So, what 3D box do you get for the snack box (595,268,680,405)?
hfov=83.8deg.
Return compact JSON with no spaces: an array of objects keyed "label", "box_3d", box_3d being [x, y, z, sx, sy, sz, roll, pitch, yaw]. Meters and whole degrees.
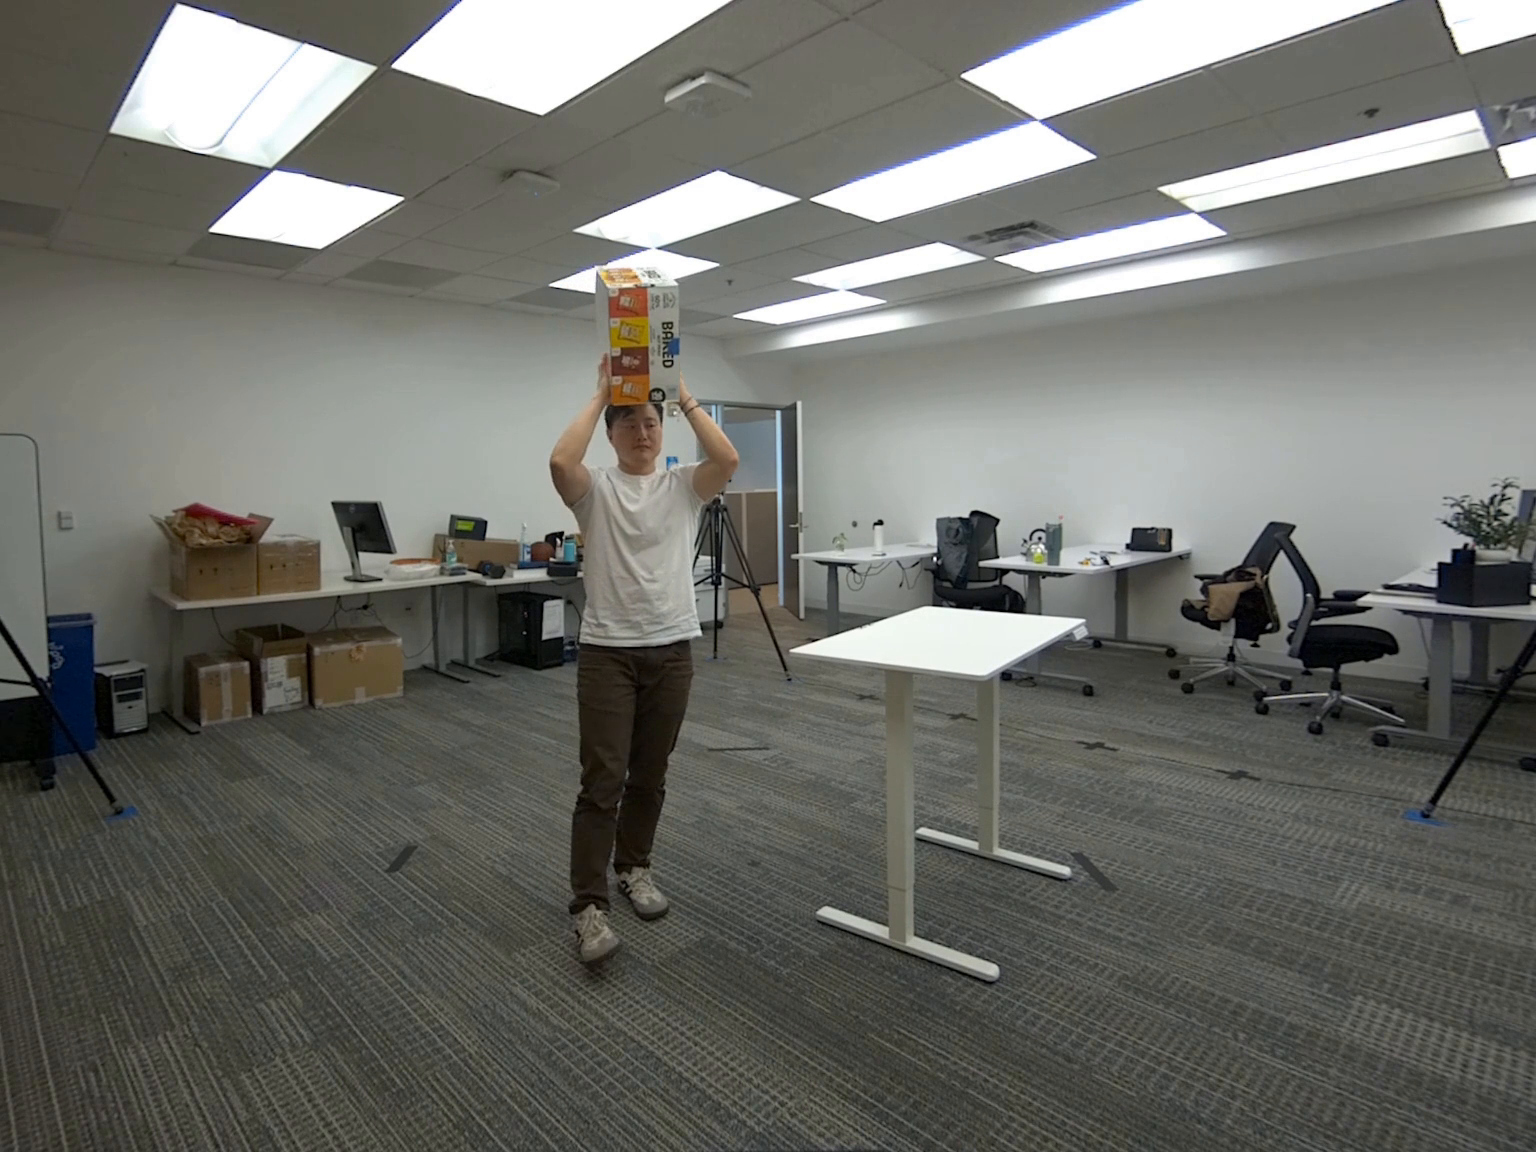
[{"label":"snack box","box_3d":[-0.408,-0.754,2.627,0.203,0.333,0.419,-5,28,-15]}]
